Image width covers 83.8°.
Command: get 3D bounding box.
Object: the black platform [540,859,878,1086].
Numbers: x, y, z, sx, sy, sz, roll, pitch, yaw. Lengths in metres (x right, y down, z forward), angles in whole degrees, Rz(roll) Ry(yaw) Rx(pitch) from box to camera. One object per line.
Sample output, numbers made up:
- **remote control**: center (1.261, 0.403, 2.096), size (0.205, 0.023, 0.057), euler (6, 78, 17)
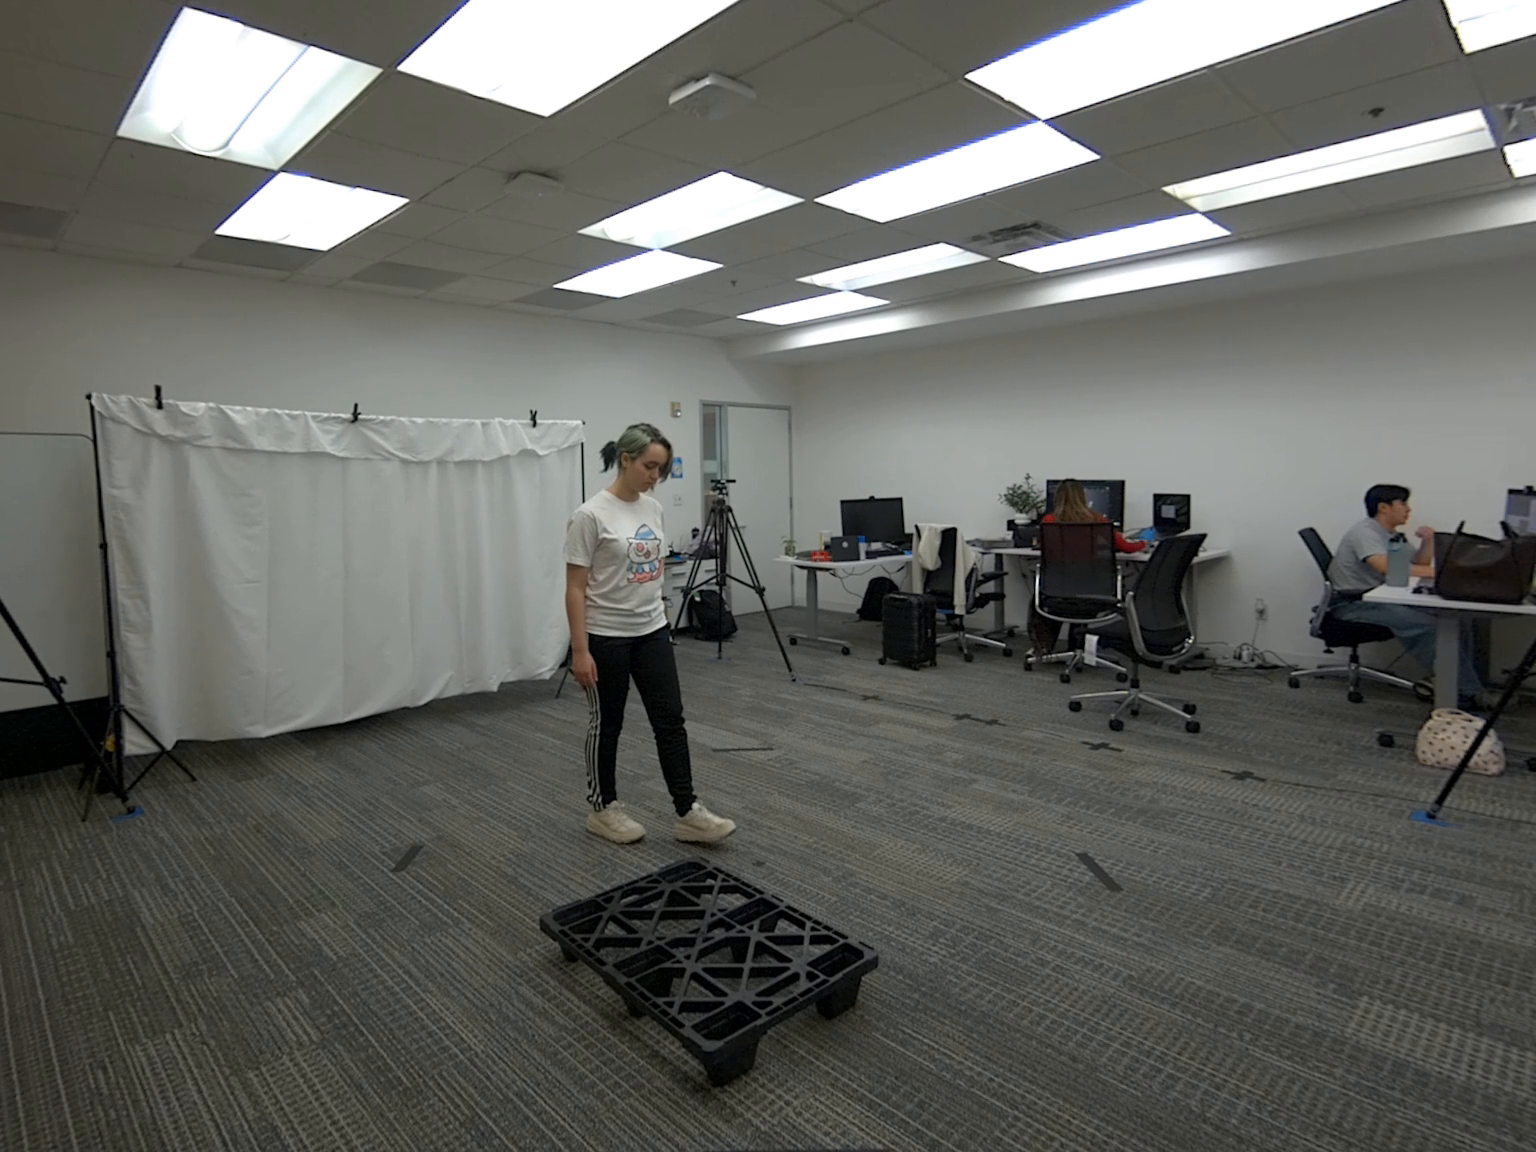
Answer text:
- **black platform**: center (-0.180, 1.066, 2.400), size (0.589, 0.142, 0.831), euler (-6, 8, -41)
